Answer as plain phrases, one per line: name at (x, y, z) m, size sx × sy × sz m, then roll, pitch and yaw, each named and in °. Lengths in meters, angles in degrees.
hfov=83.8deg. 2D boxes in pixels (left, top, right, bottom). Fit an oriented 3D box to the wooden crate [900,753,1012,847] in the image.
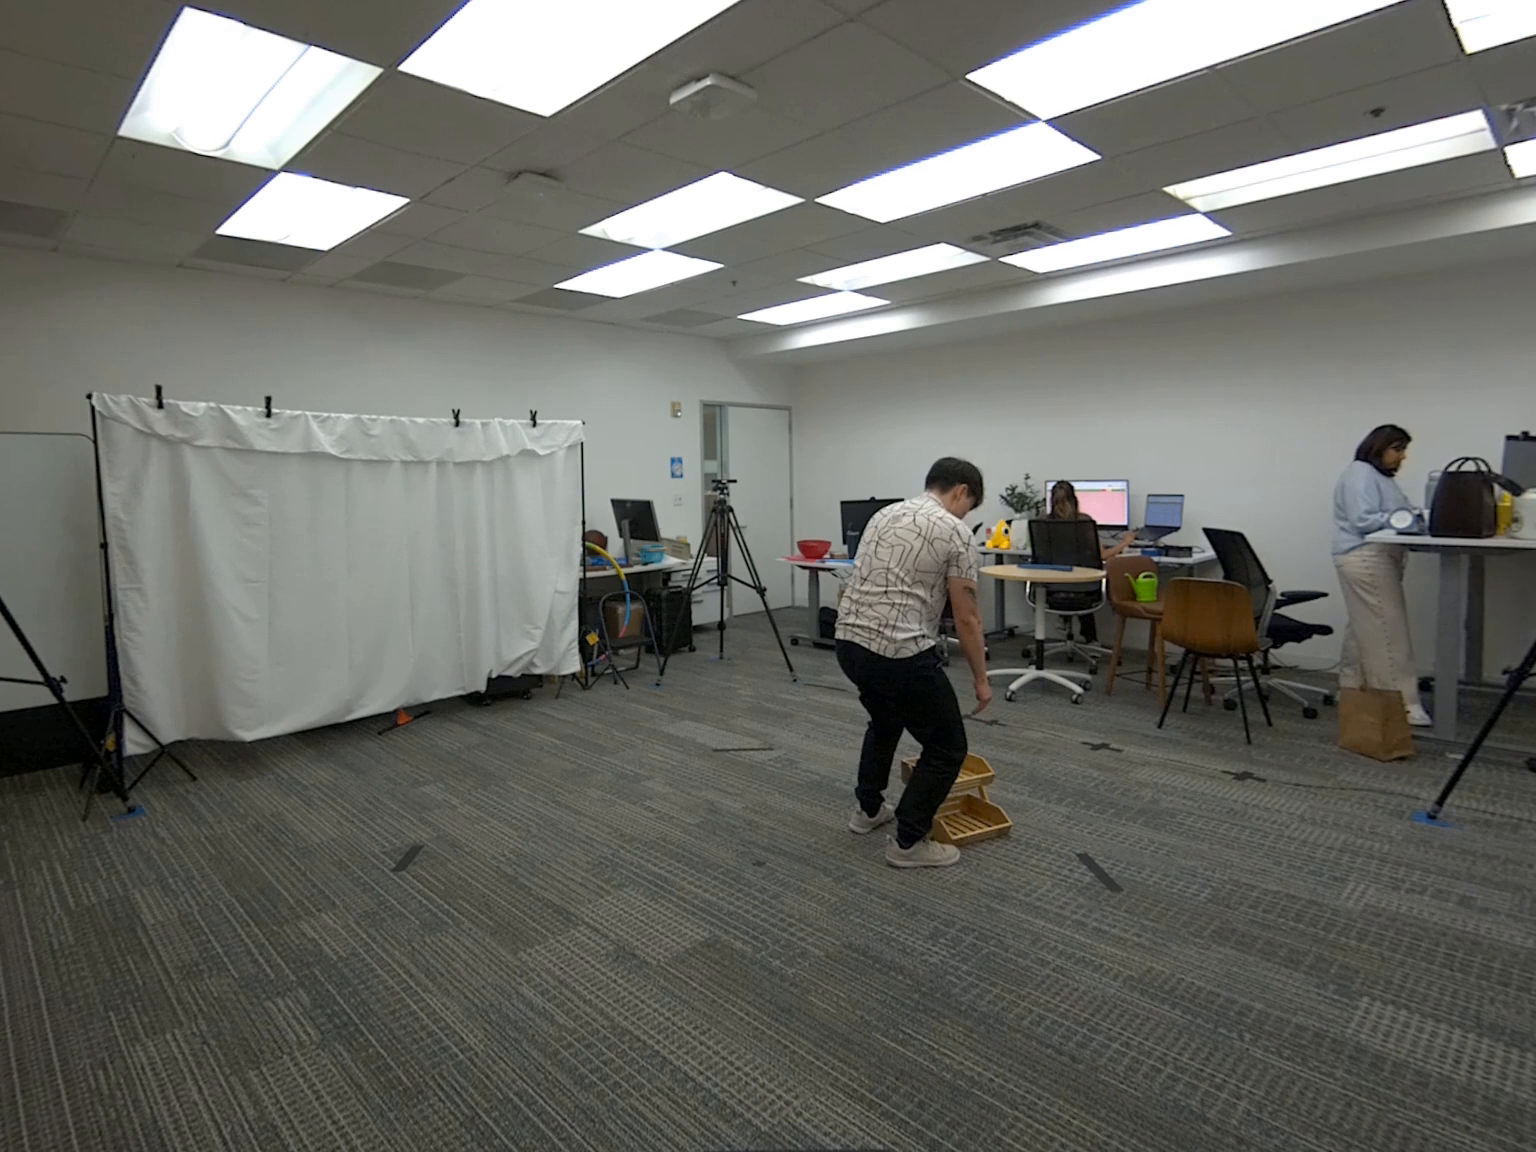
wooden crate at (0.743, 0.870, 3.373) m, size 0.317 × 0.272 × 0.310 m, roll -4°, pitch 5°, yaw -29°
